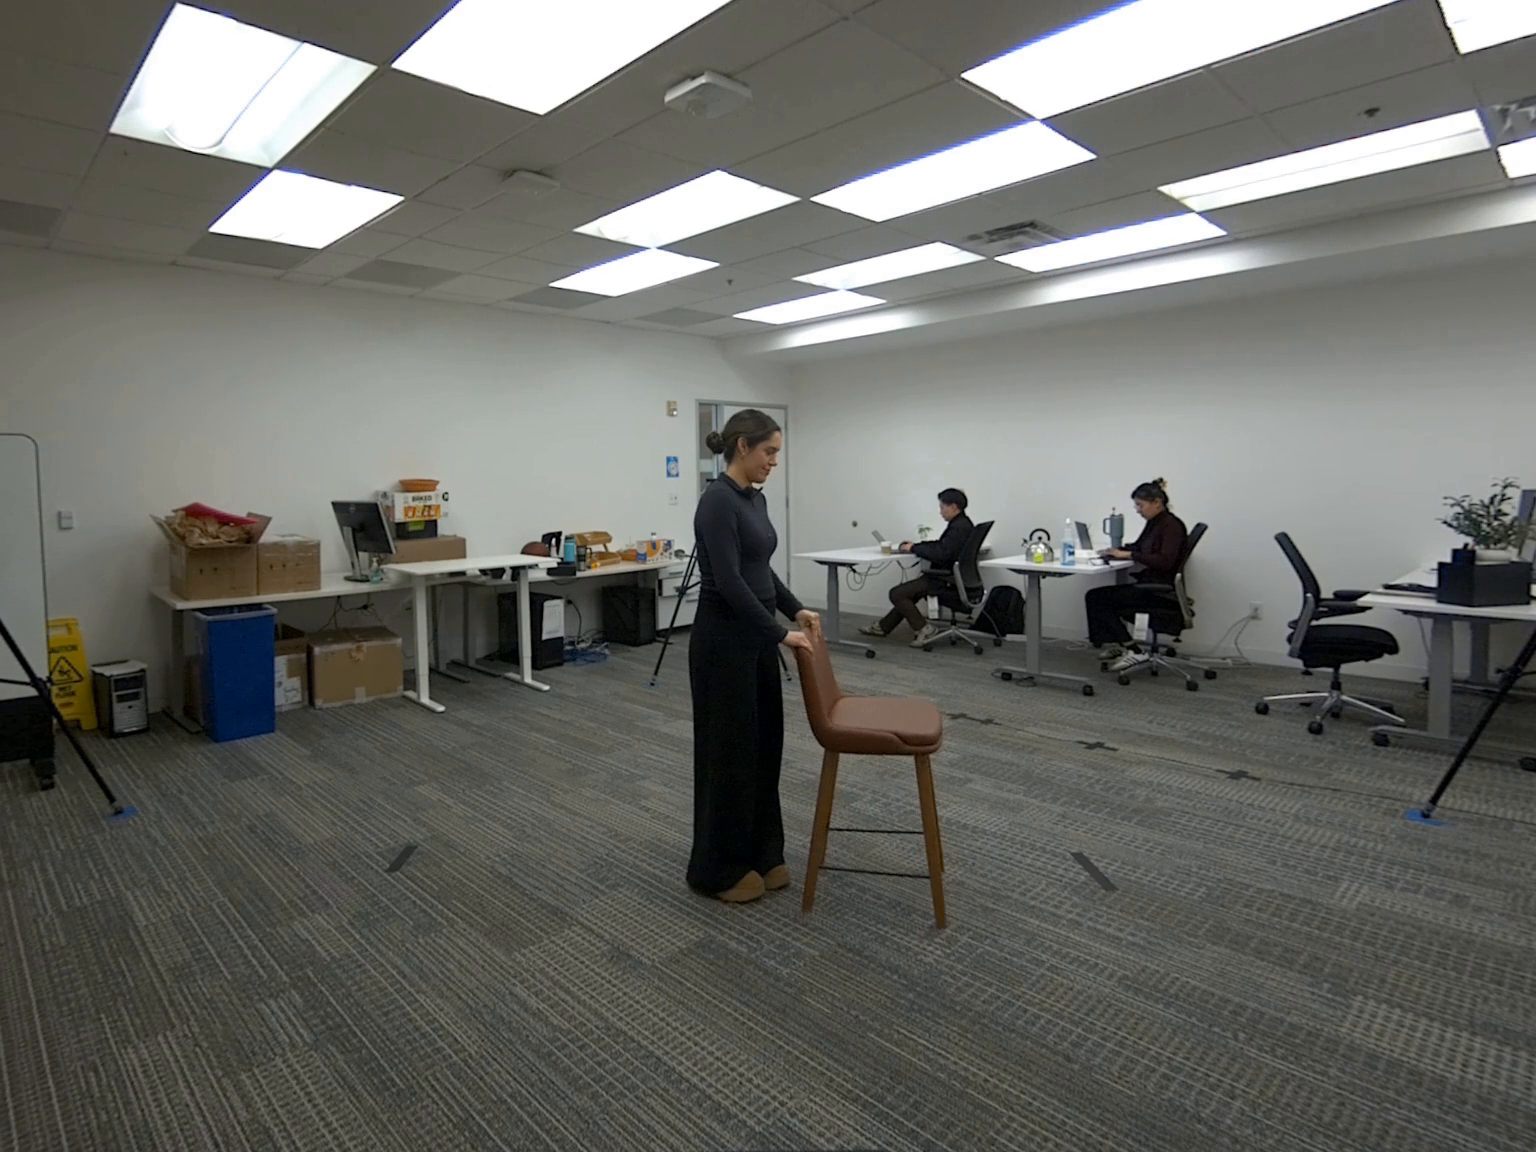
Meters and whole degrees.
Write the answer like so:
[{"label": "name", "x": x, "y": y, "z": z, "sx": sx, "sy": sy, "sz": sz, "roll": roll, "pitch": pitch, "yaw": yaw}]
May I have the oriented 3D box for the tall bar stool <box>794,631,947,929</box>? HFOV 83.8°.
[{"label": "tall bar stool", "x": 0.344, "y": 0.622, "z": 2.857, "sx": 0.474, "sy": 0.887, "sz": 0.452, "roll": -2, "pitch": 4, "yaw": 13}]
